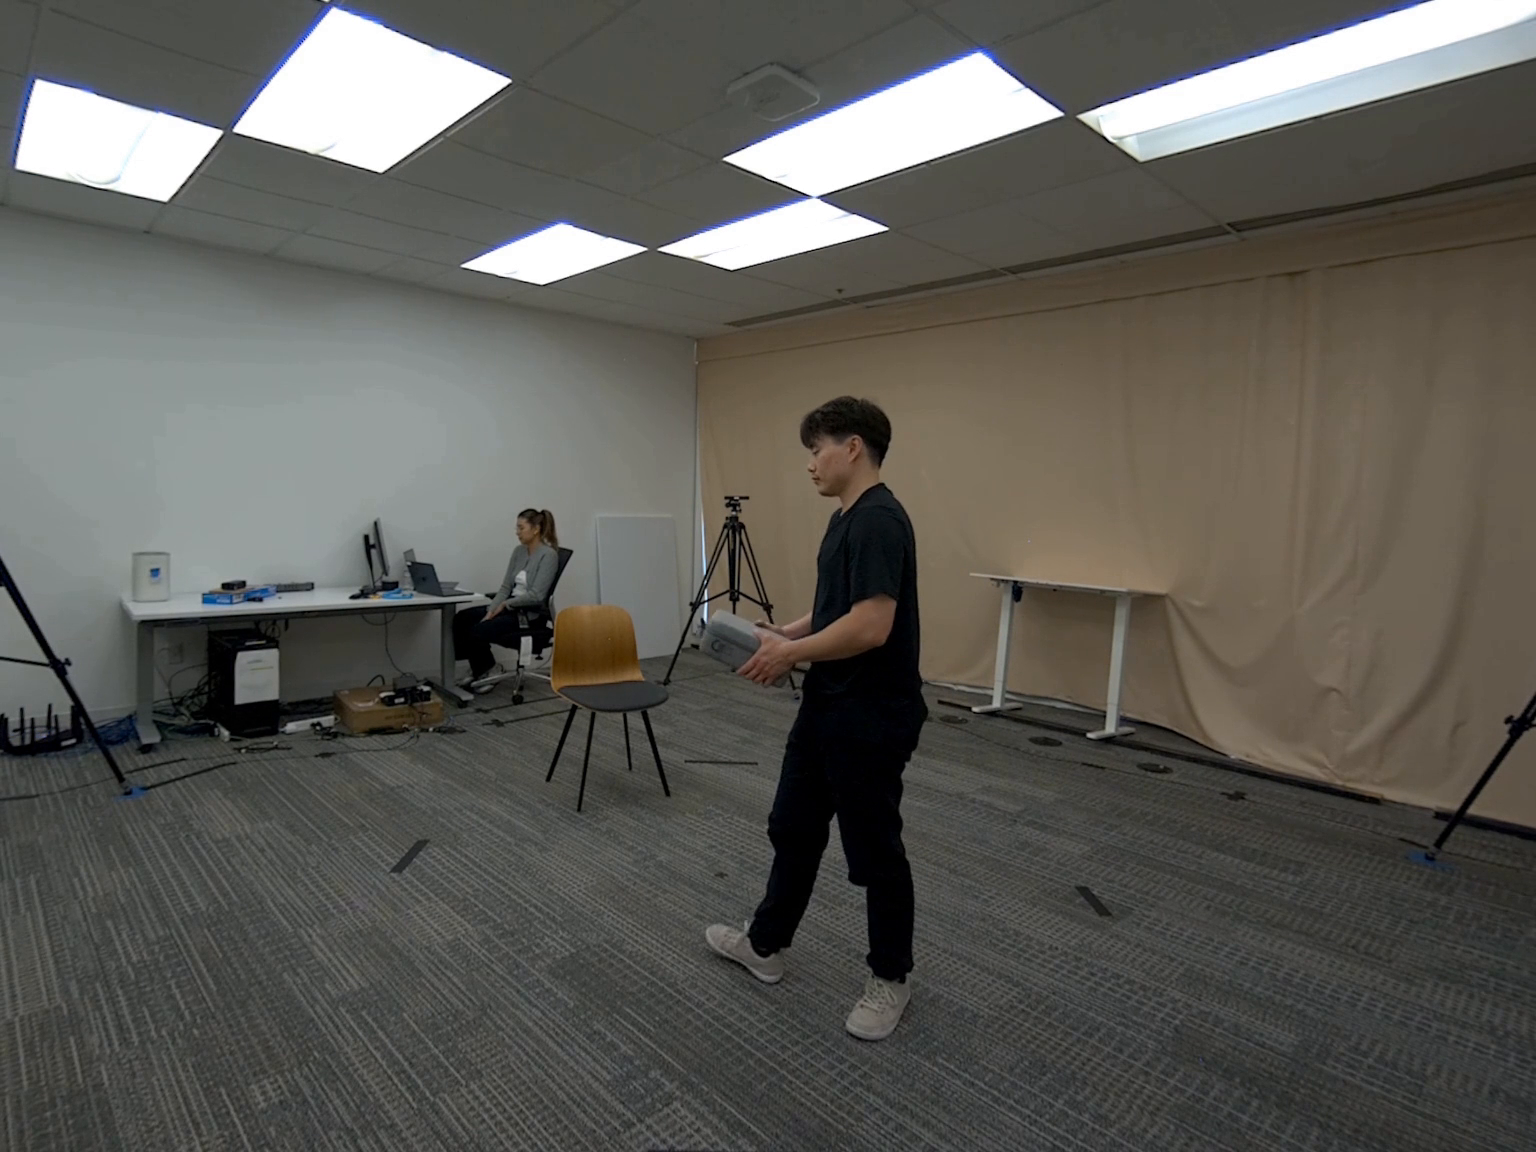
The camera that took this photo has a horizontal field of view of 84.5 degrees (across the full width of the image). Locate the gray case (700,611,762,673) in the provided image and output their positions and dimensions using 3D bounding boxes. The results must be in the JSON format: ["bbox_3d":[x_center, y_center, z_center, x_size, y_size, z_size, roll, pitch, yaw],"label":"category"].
[{"bbox_3d":[-0.059,0.186,2.289,0.262,0.104,0.255,24,2,6],"label":"gray case"}]
